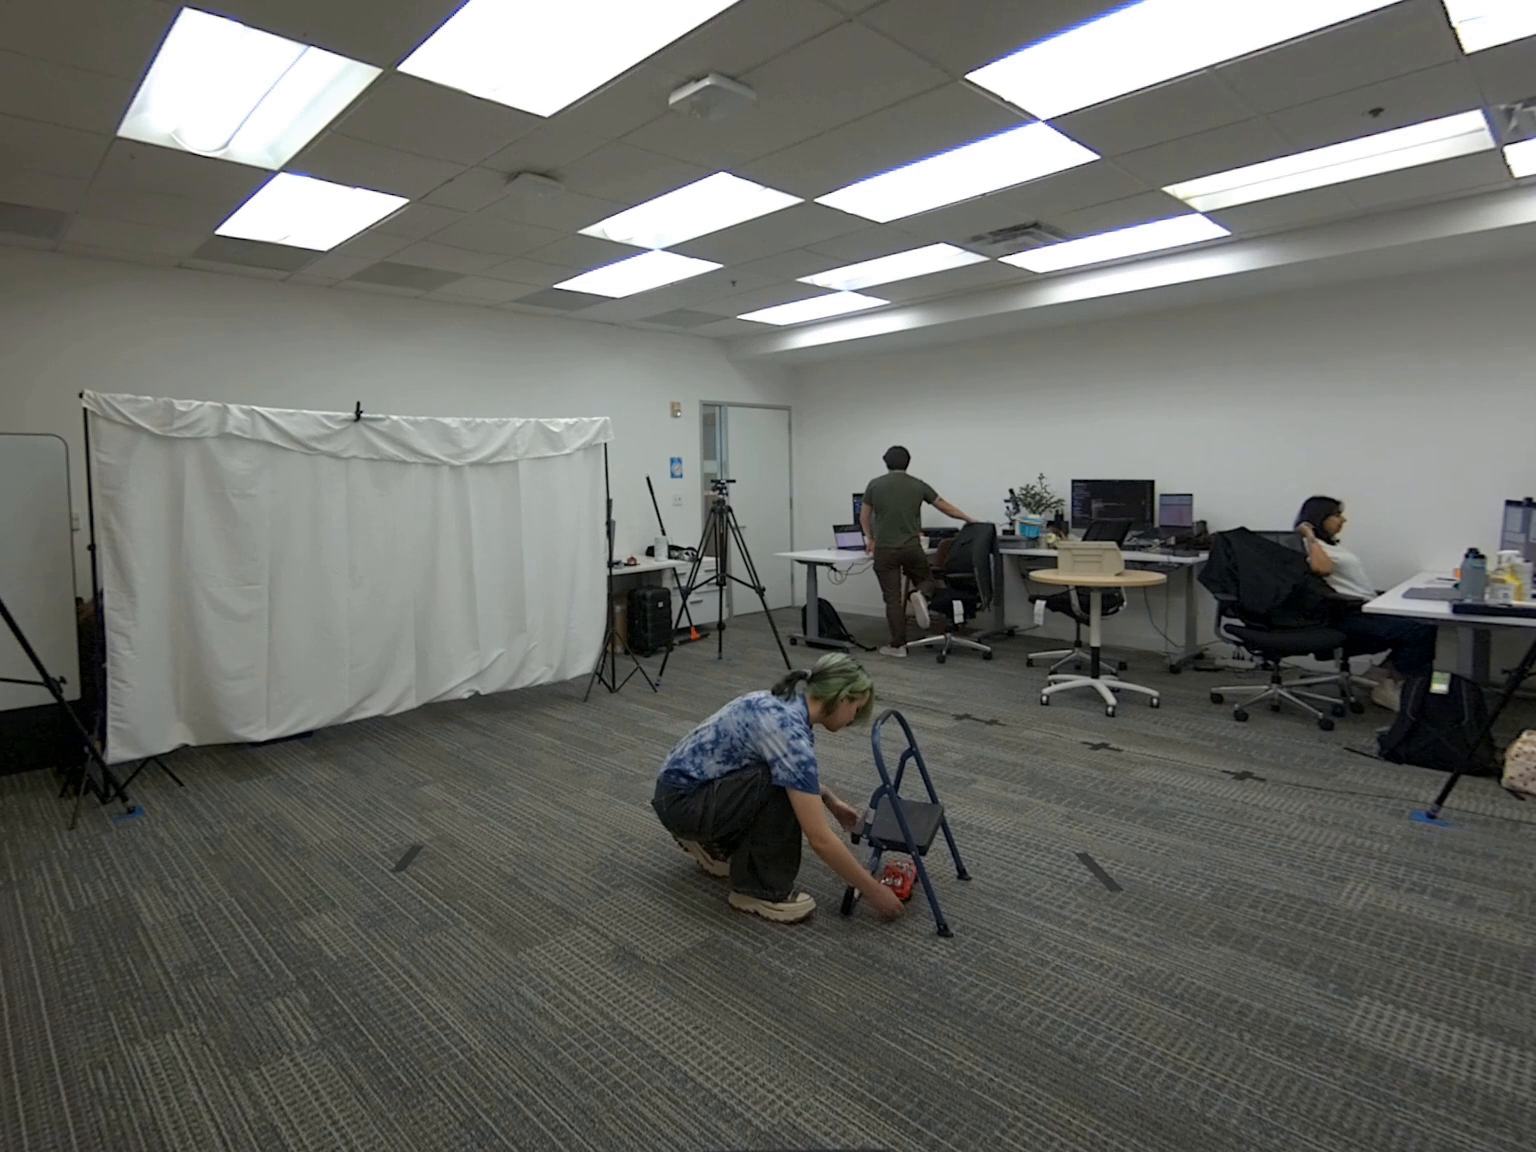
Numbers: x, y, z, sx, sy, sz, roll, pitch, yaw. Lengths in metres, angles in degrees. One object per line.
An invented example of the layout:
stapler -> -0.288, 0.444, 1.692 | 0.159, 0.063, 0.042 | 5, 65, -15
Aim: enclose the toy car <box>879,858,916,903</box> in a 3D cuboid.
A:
toy car -> 0.434, 1.029, 2.886 | 0.133, 0.083, 0.248 | 5, -5, 19
